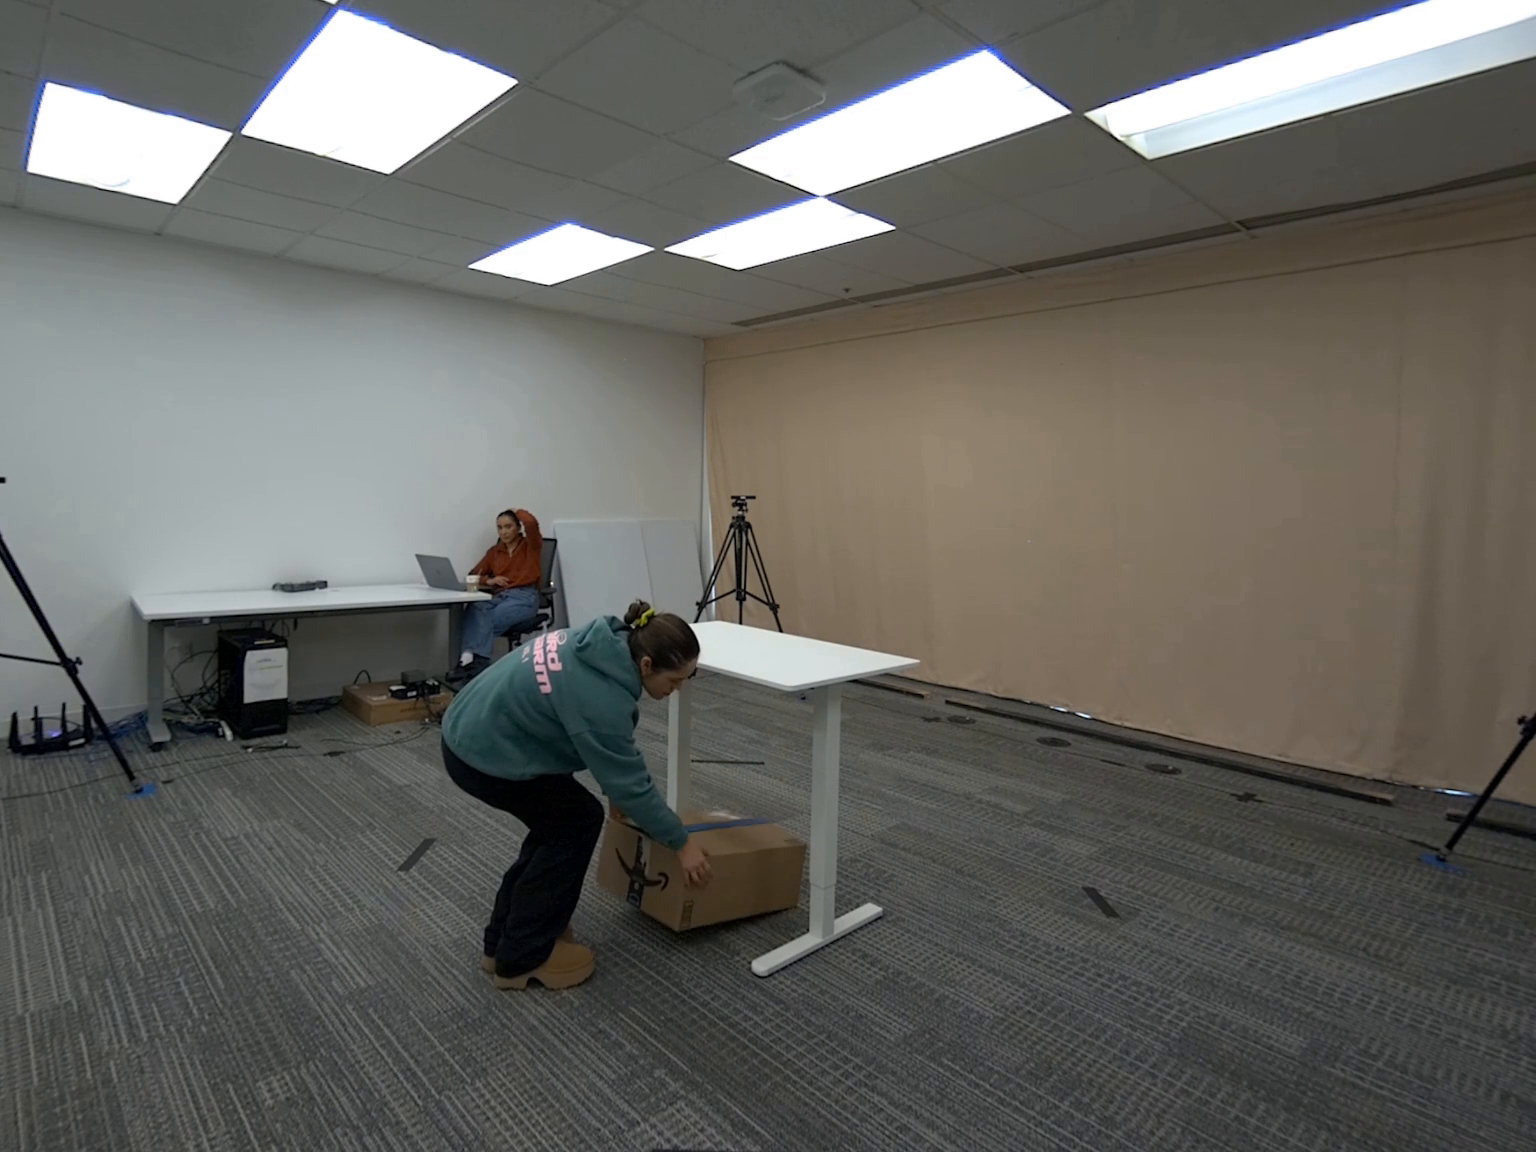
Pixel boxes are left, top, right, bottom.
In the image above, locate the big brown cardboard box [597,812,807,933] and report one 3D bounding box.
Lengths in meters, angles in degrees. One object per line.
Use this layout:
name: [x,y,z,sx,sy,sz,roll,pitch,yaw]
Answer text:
big brown cardboard box: [-0.214,0.956,2.837,0.428,0.233,0.573,7,-3,43]
